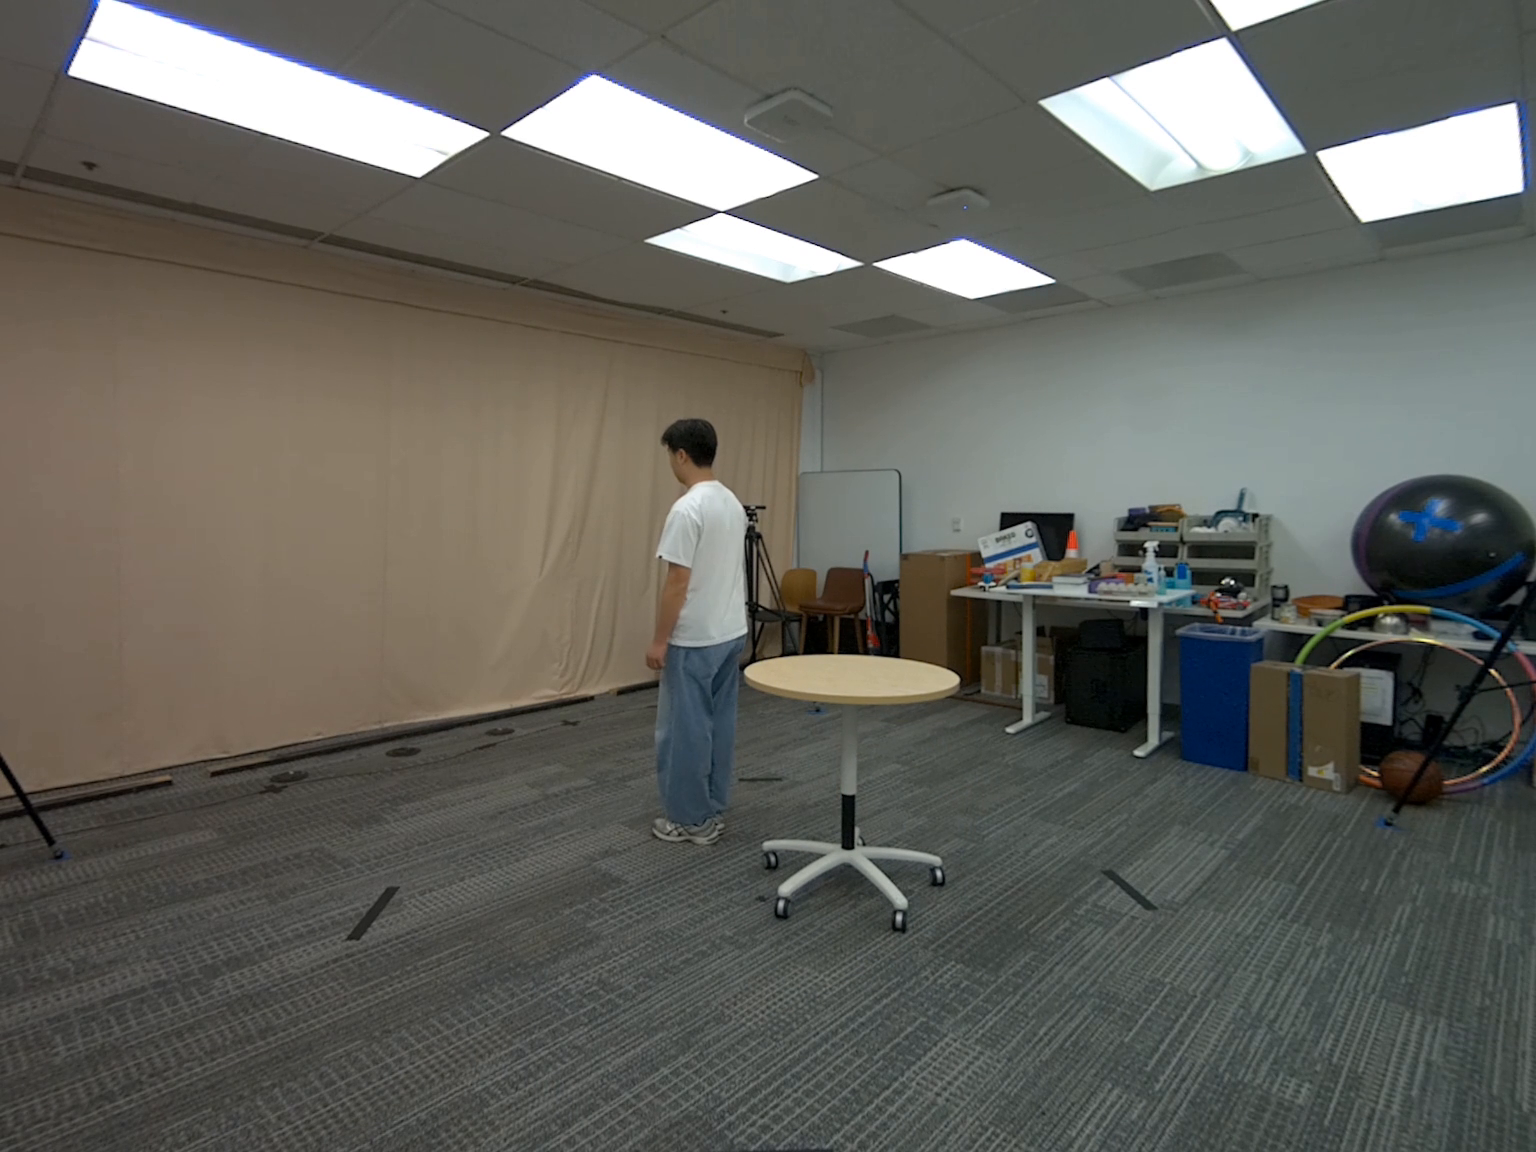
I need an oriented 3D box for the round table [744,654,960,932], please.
[{"bbox_3d":[0.301,0.746,3.056,0.763,0.792,0.766,0,3,-2],"label":"round table"}]
